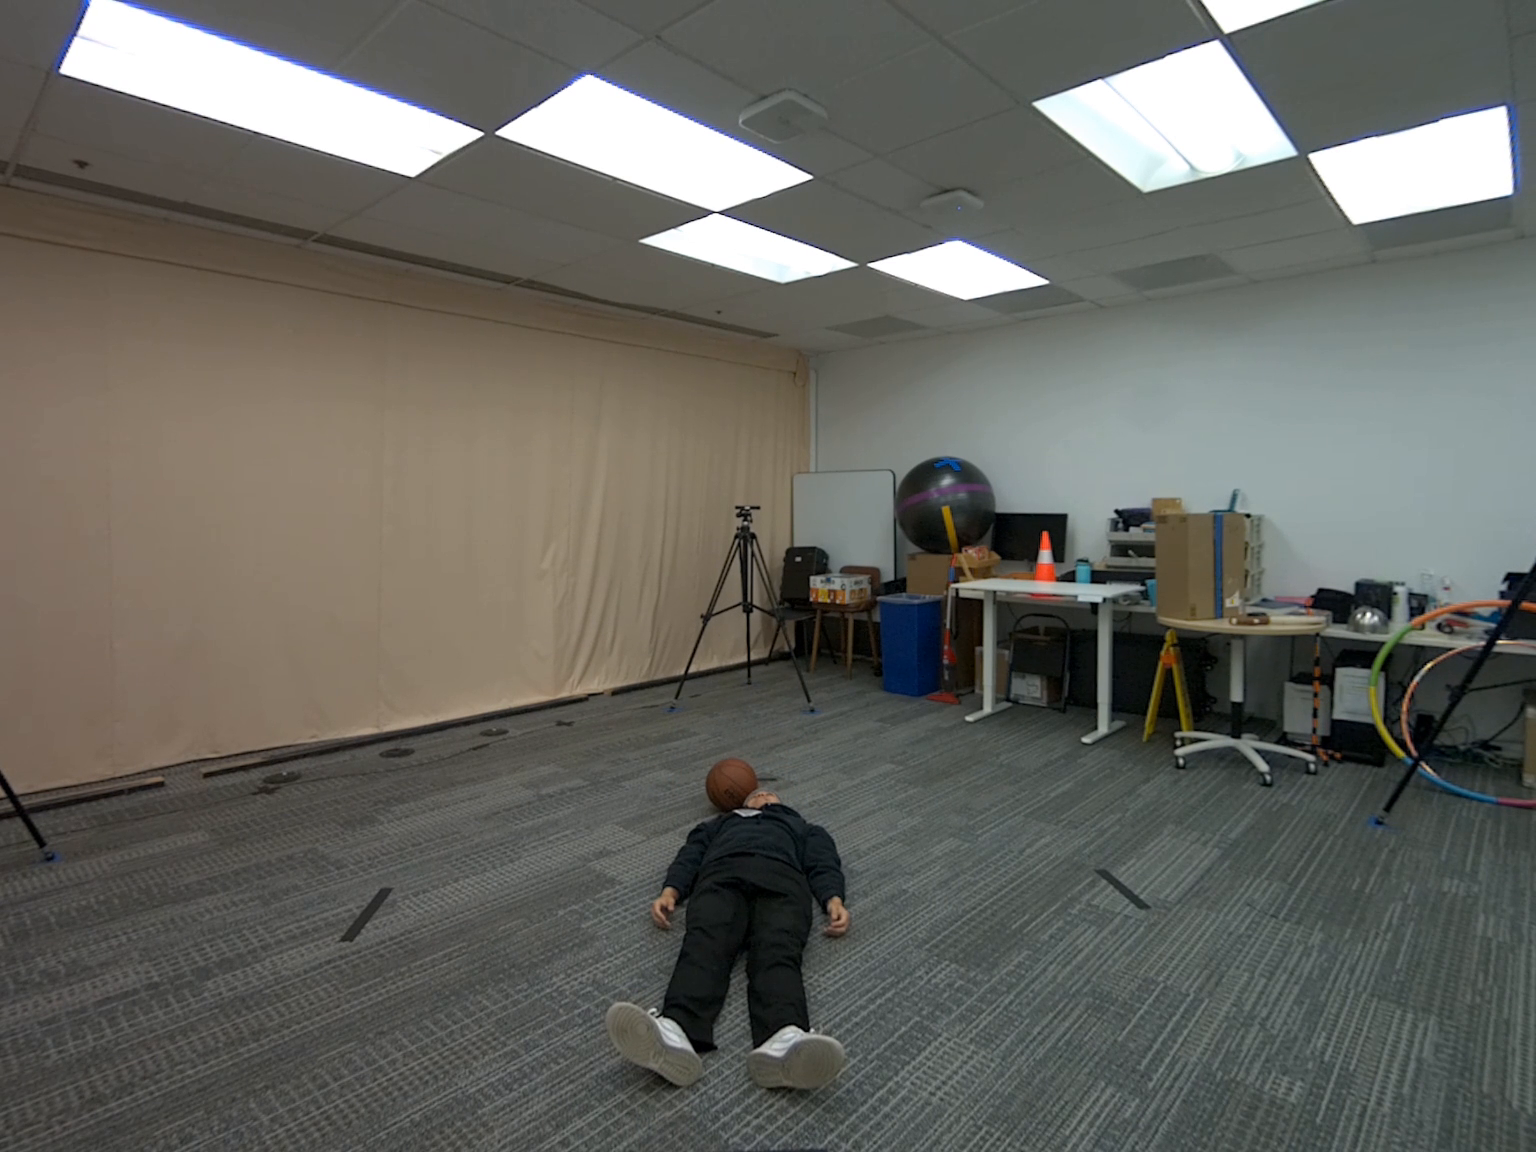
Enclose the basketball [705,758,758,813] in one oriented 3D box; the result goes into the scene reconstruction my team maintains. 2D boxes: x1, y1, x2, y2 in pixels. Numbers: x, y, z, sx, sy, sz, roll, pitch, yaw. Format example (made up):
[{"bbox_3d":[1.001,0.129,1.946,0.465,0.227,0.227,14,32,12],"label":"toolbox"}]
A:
[{"bbox_3d":[-0.167,0.954,3.850,0.236,0.235,0.237,0,4,-2],"label":"basketball"}]
